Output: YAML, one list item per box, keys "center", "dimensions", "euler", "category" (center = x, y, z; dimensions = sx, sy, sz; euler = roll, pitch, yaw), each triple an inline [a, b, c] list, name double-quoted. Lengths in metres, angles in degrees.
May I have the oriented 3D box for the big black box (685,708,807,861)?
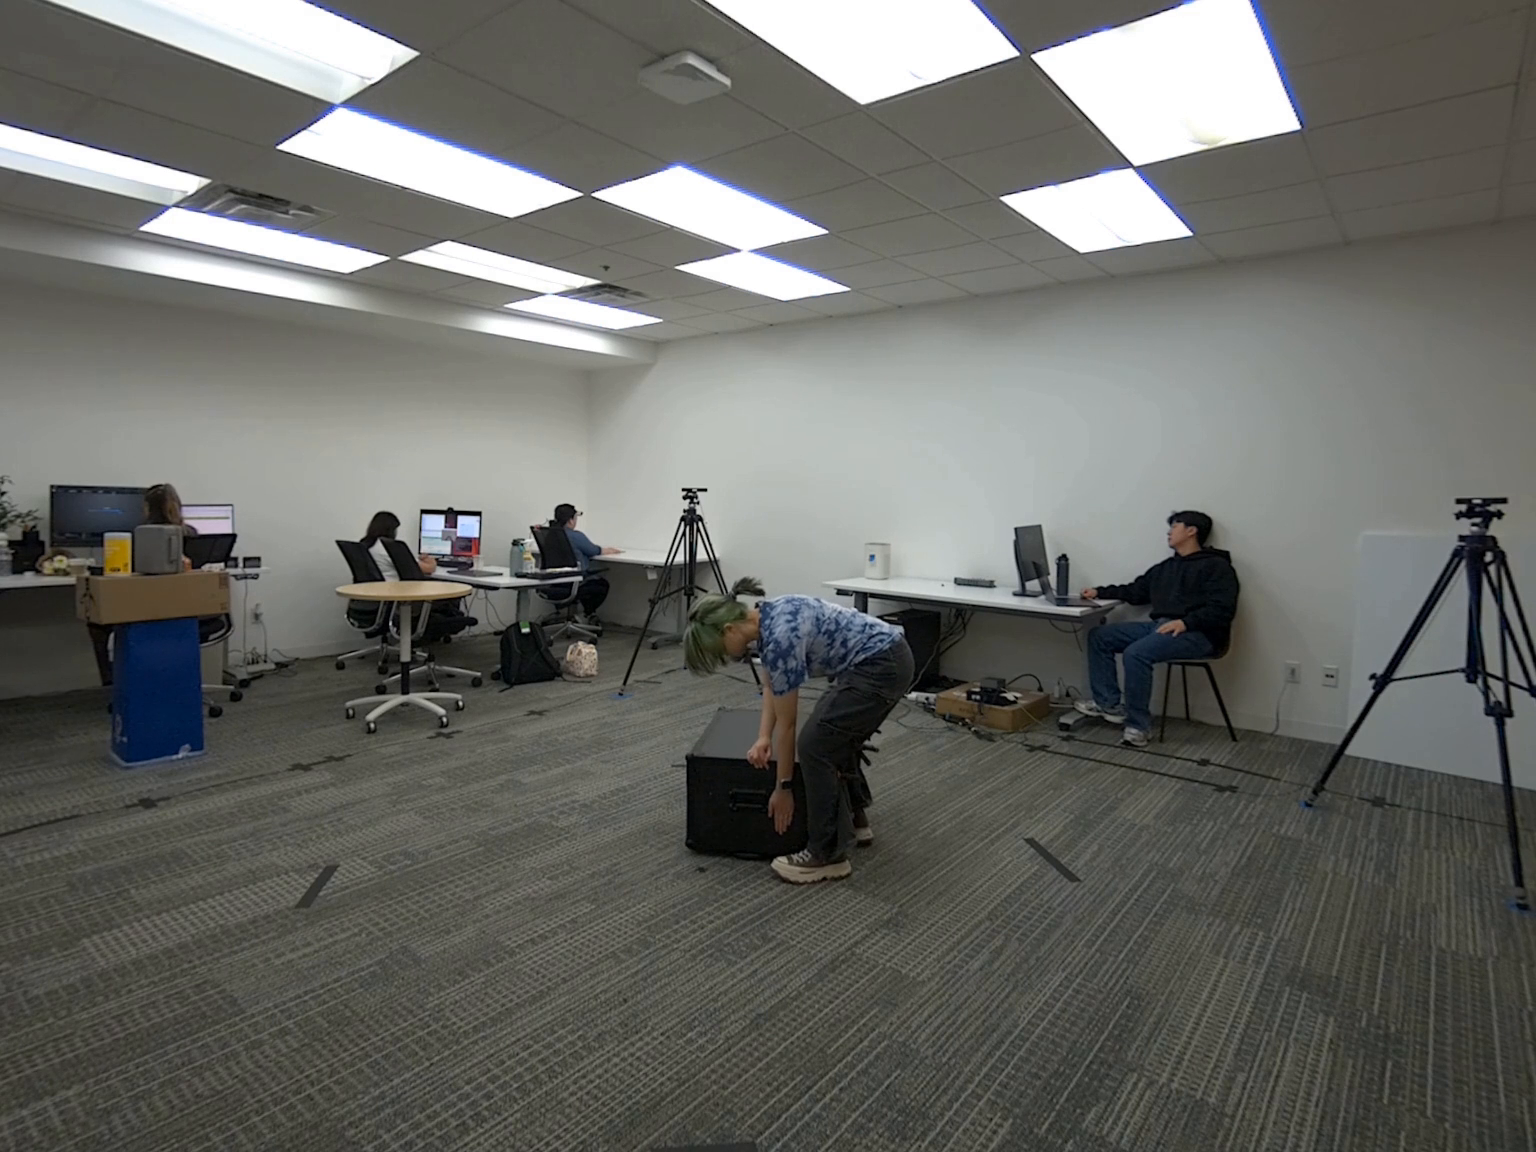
- center: [-0.033, 0.825, 3.592]
  dimensions: [0.526, 0.395, 0.857]
  euler: [1, 5, 7]
  category: "big black box"
